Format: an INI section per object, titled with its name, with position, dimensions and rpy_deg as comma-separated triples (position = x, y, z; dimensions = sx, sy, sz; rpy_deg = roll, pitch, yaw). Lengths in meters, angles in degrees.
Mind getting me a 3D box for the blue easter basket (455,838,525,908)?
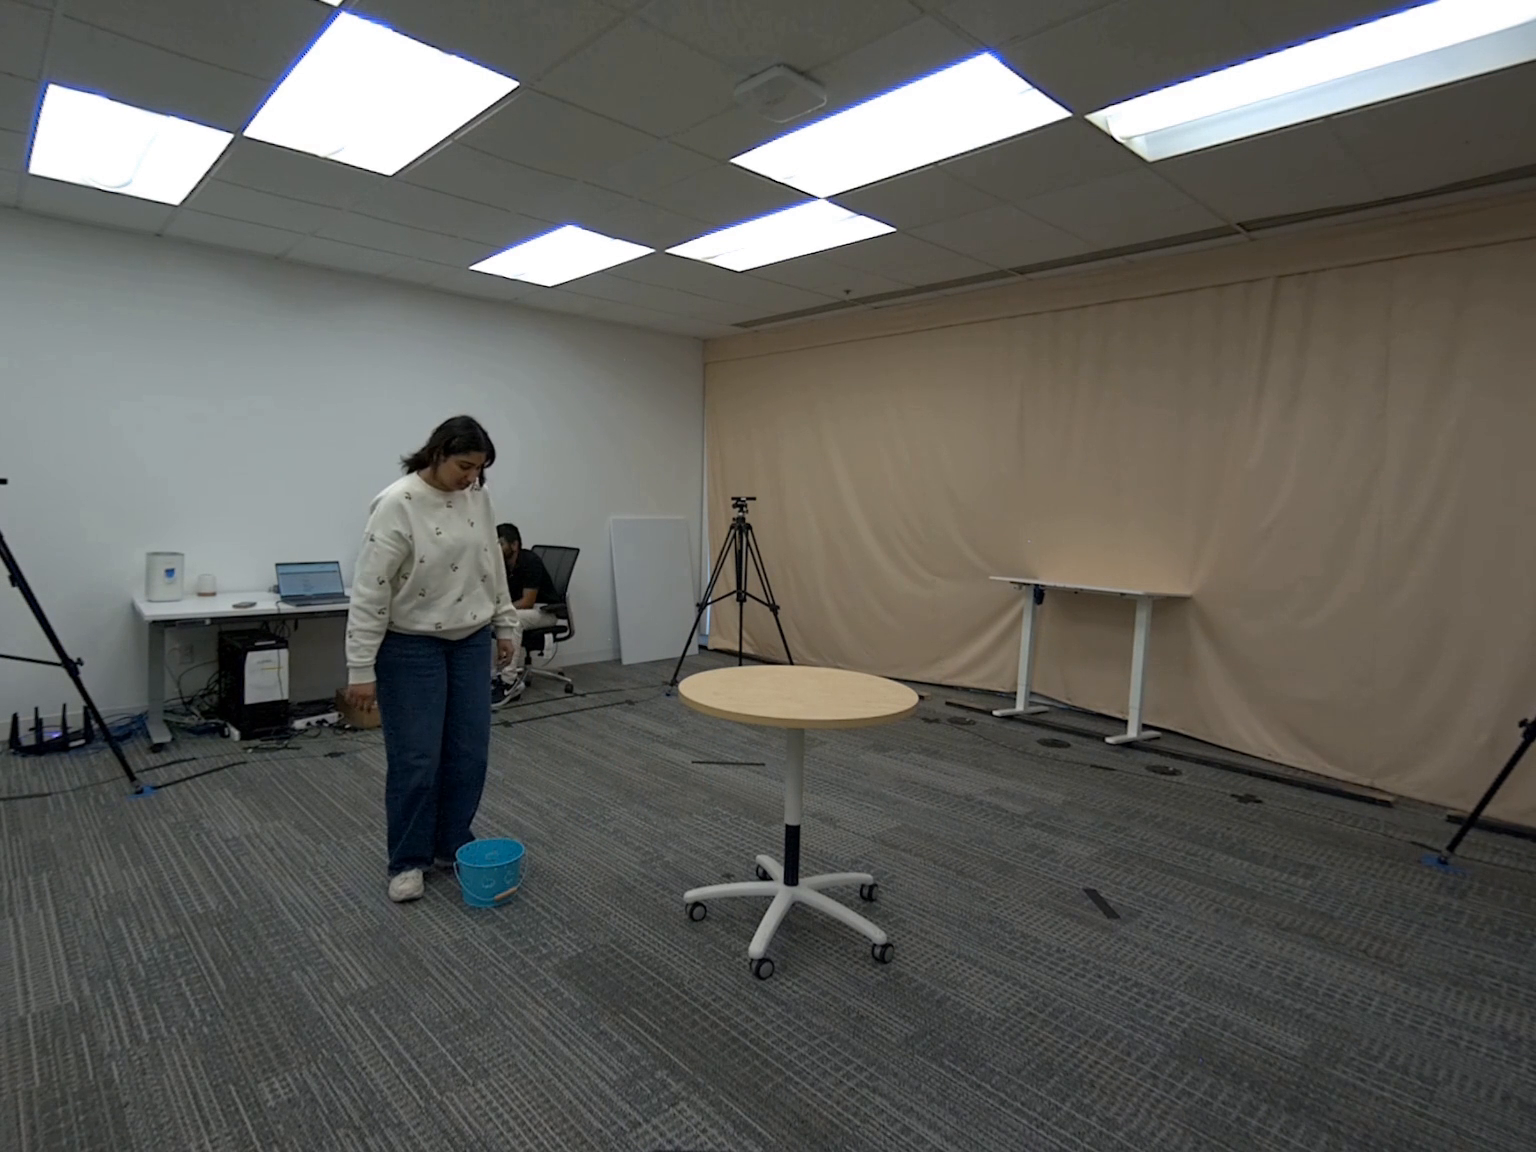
[blue easter basket]
position = -0.975, 1.033, 2.909
dimensions = 0.243, 0.155, 0.244
rpy_deg = 1, 5, -1
